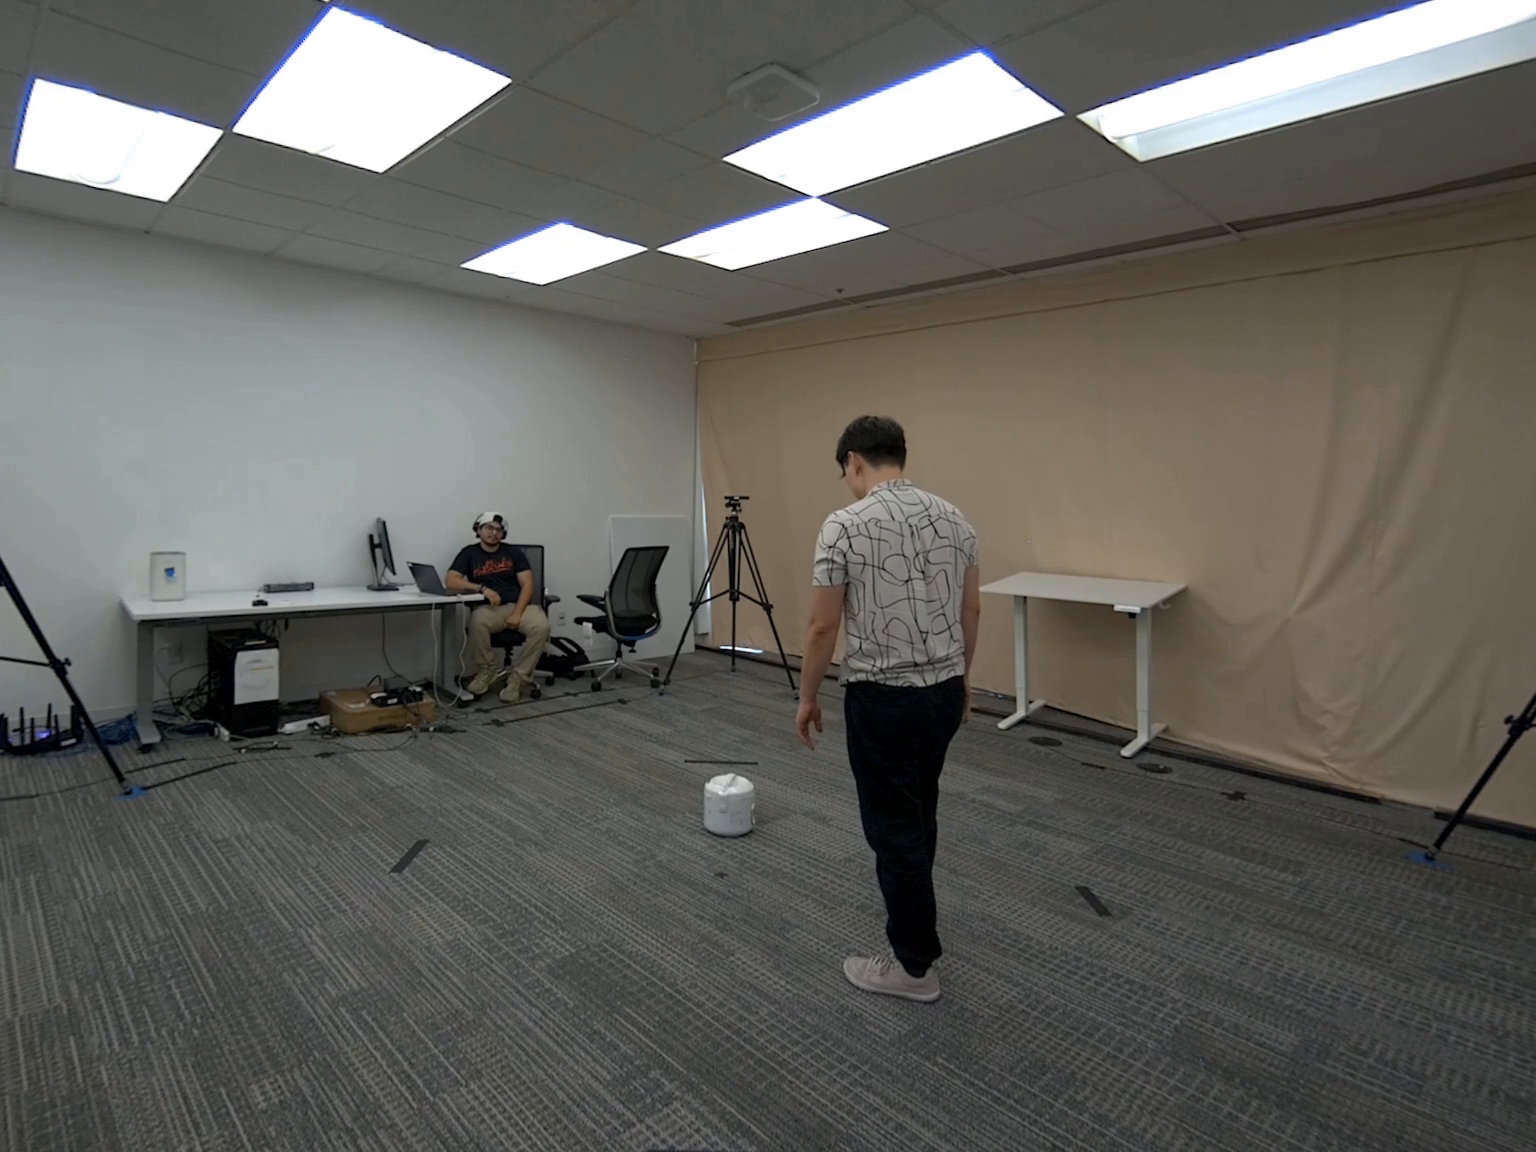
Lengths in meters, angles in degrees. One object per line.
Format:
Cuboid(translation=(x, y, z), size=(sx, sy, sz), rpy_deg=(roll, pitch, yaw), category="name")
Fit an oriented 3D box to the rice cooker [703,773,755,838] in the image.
Cuboid(translation=(-0.168, 0.947, 3.529), size=(0.220, 0.232, 0.218), rpy_deg=(1, 4, 14), category="rice cooker")
